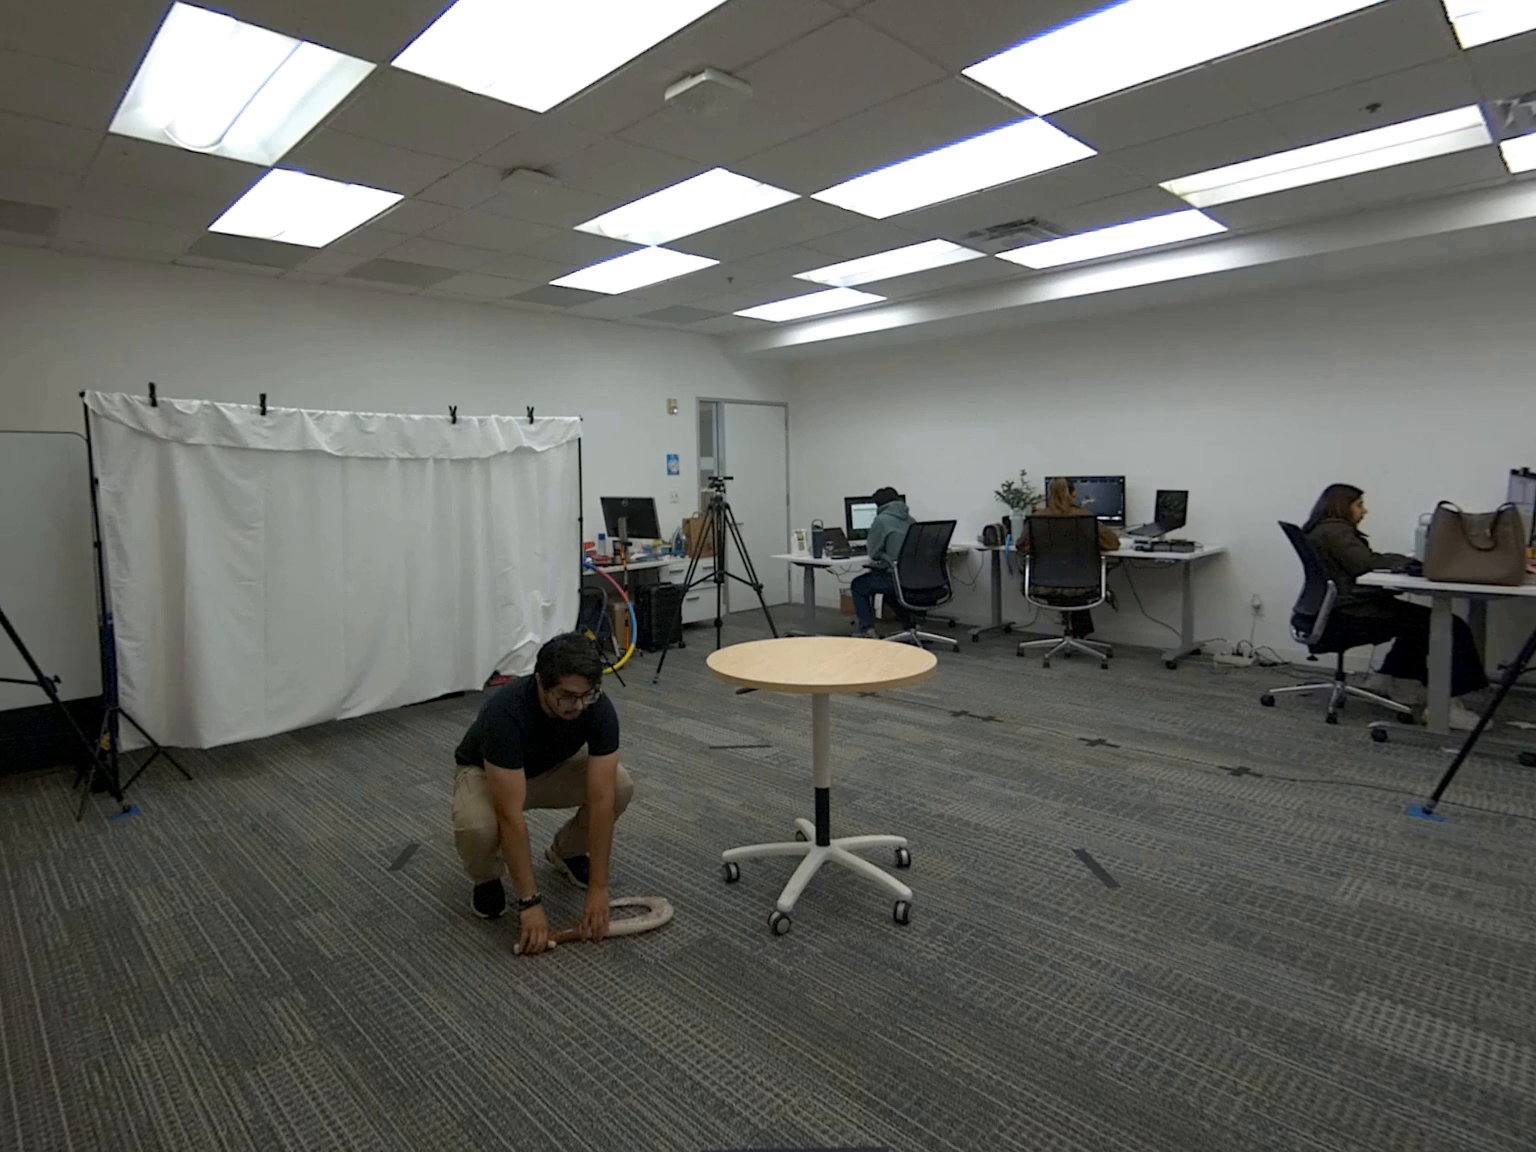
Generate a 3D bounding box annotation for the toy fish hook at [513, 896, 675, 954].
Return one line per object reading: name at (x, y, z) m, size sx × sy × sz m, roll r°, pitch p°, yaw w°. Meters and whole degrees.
toy fish hook at (-0.546, 1.080, 2.665) m, size 0.497 × 0.048 × 0.228 m, roll -2°, pitch -2°, yaw -23°
